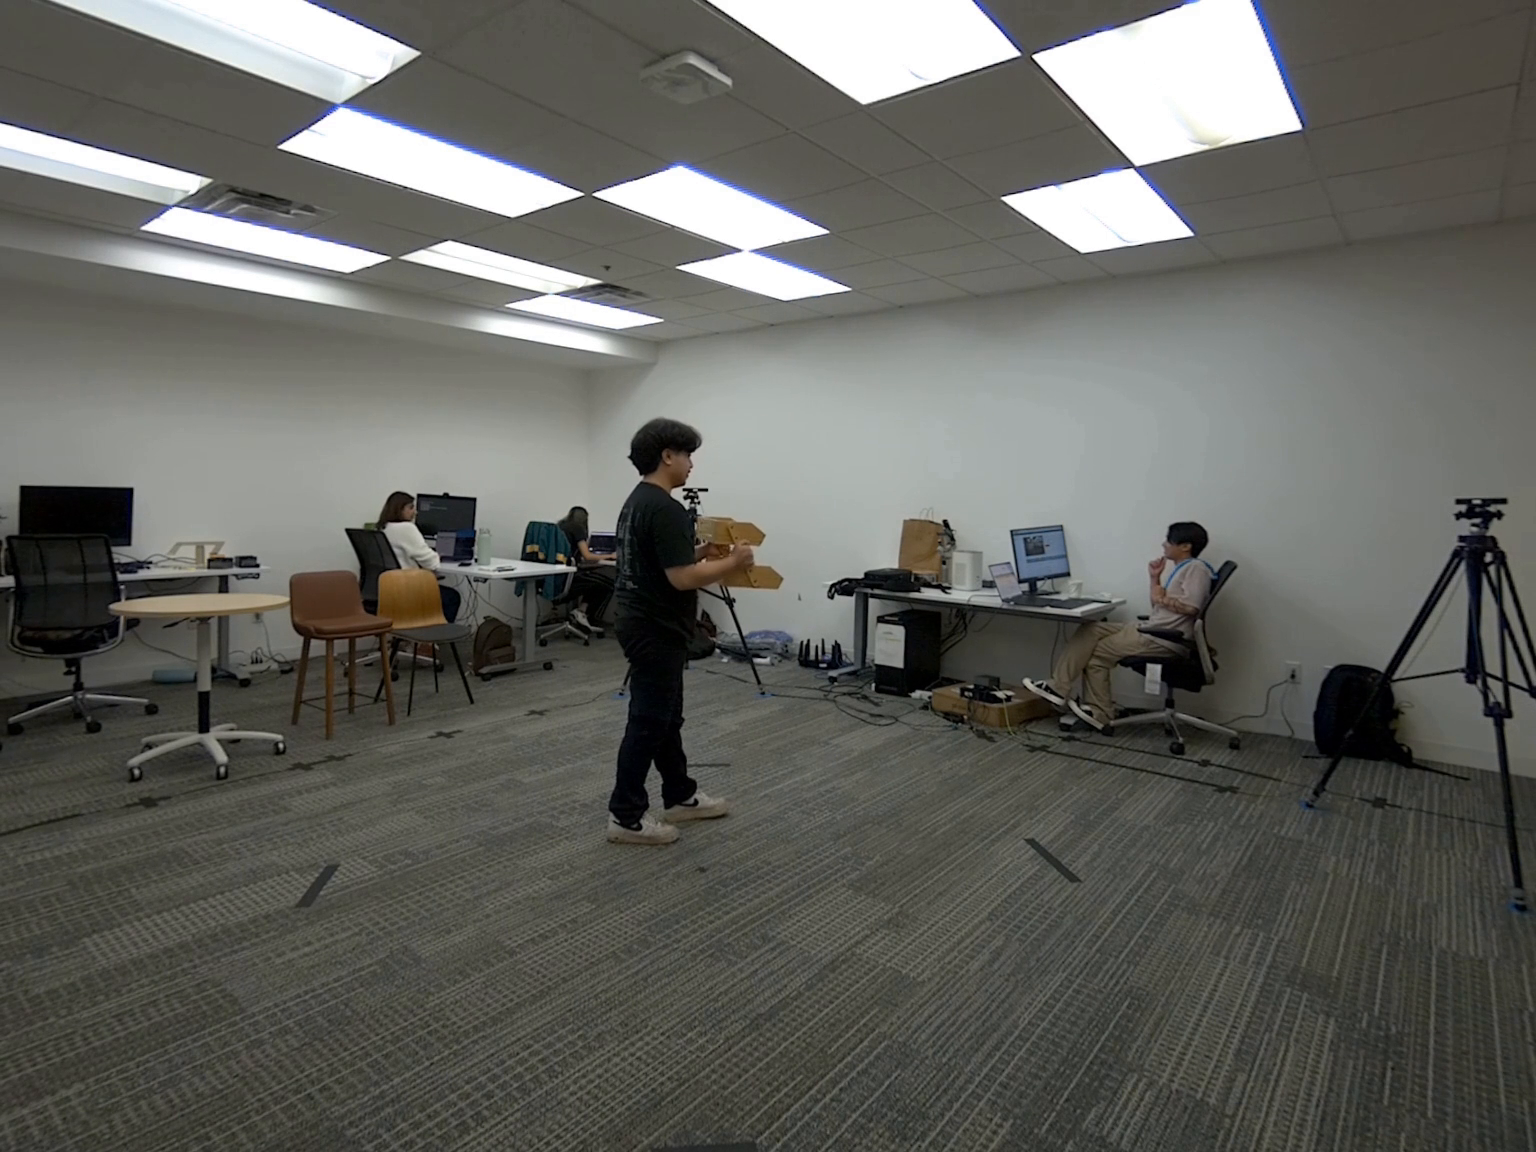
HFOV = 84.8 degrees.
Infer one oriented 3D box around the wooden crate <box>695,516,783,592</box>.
[{"bbox_3d":[-0.128,-0.109,3.523,0.297,0.272,0.331,2,6,-17],"label":"wooden crate"}]
